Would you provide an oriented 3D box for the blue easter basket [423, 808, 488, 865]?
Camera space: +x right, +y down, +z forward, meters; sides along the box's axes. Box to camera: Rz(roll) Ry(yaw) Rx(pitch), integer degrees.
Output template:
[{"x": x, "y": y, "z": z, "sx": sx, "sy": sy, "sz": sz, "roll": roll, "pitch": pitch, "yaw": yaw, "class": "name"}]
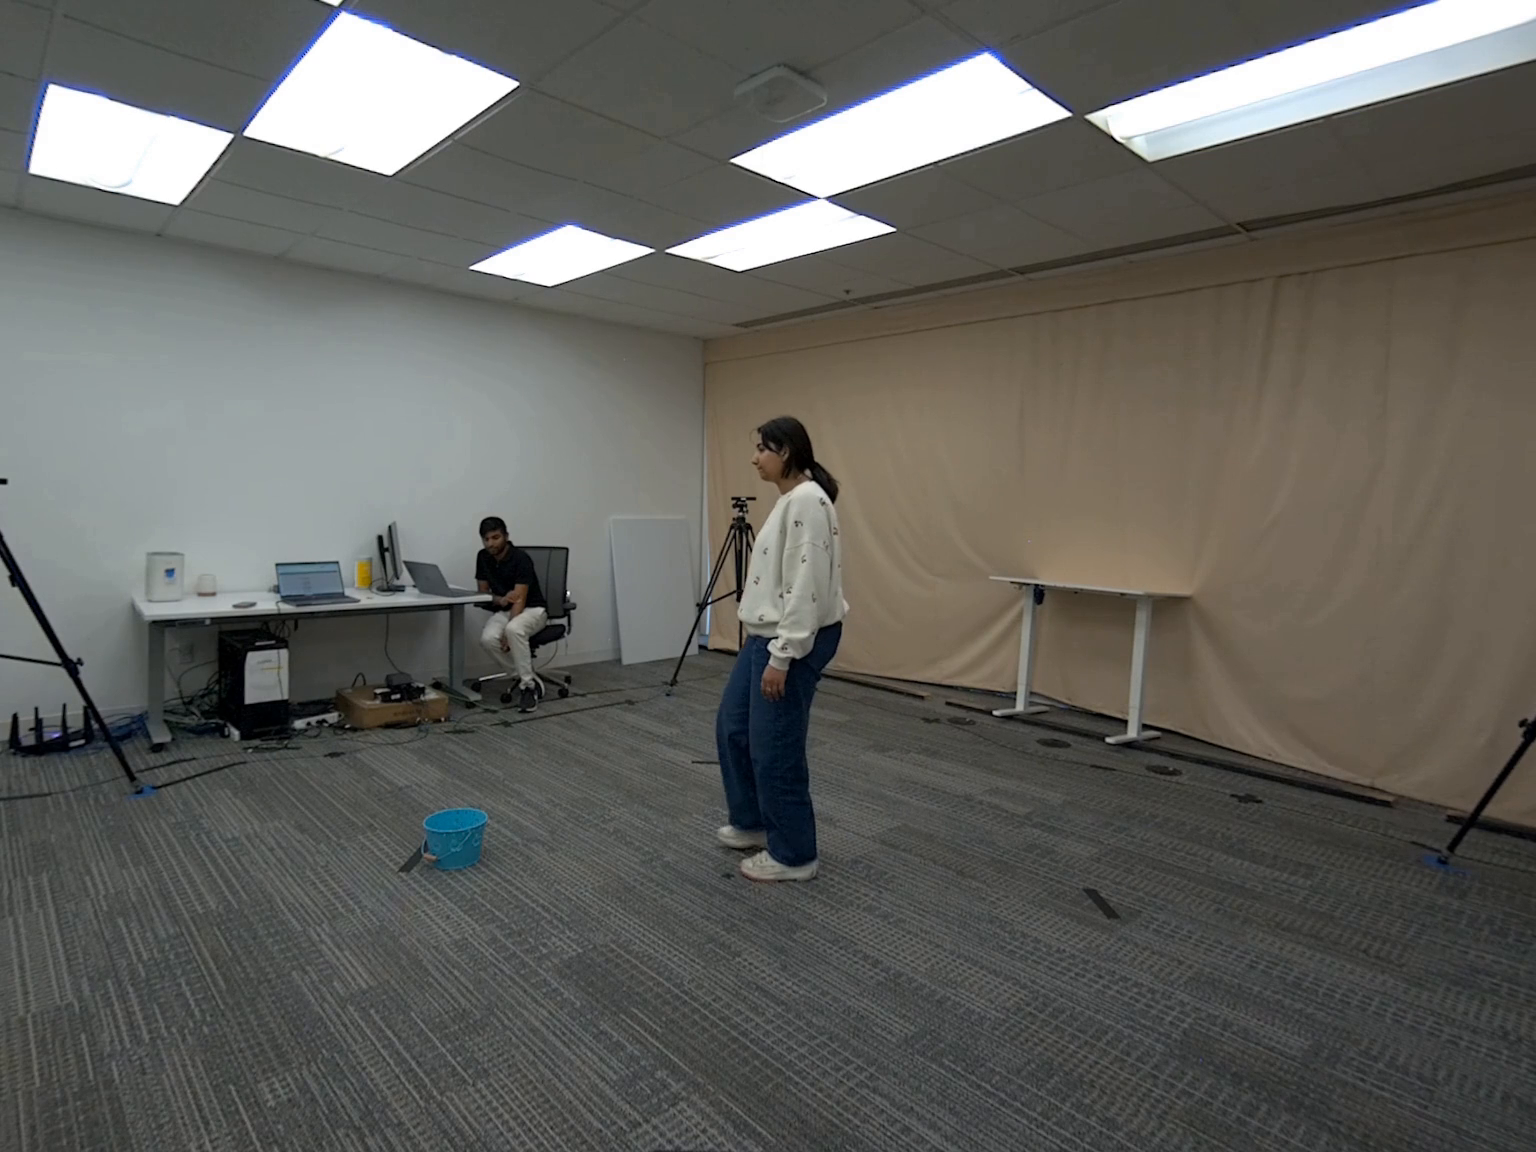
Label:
[{"x": -1.177, "y": 0.992, "z": 3.195, "sx": 0.243, "sy": 0.155, "sz": 0.244, "roll": 2, "pitch": 5, "yaw": -2, "class": "blue easter basket"}]
